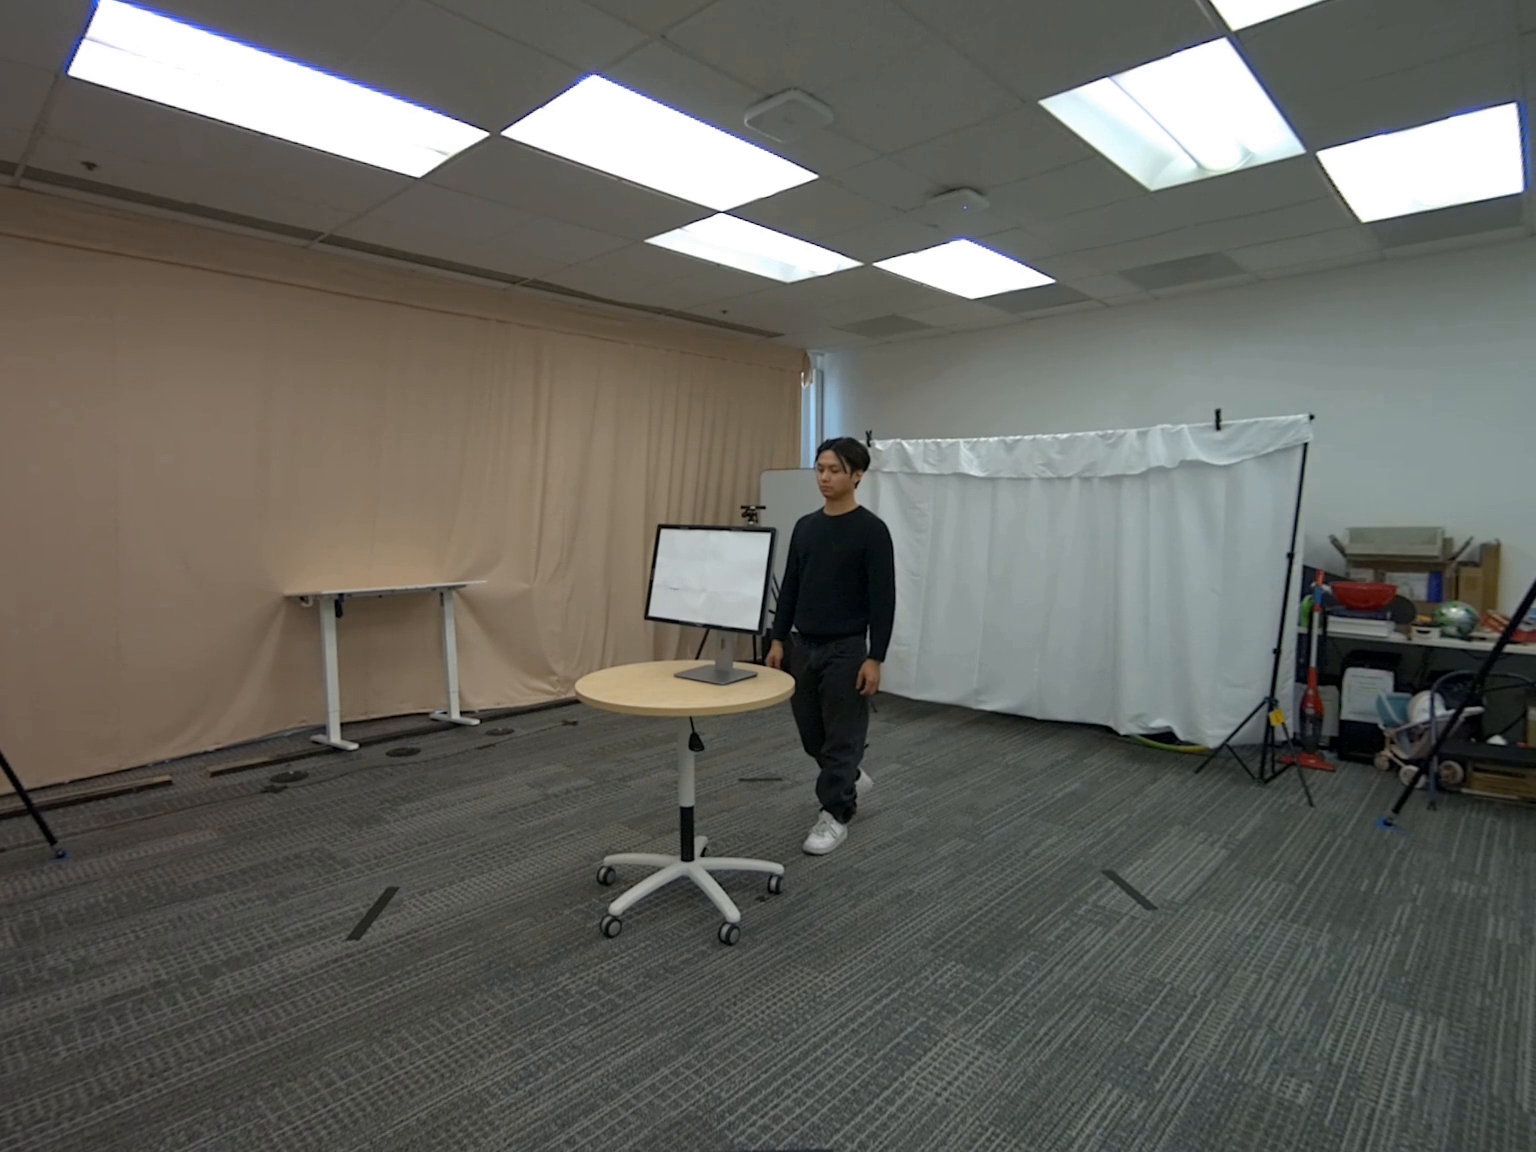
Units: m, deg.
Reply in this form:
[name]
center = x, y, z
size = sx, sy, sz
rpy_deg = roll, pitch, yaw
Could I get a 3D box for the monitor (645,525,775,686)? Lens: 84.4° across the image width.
[monitor]
center = -0.185, 0.096, 3.007
size = 0.556, 0.521, 0.182
rpy_deg = 3, 6, 38
